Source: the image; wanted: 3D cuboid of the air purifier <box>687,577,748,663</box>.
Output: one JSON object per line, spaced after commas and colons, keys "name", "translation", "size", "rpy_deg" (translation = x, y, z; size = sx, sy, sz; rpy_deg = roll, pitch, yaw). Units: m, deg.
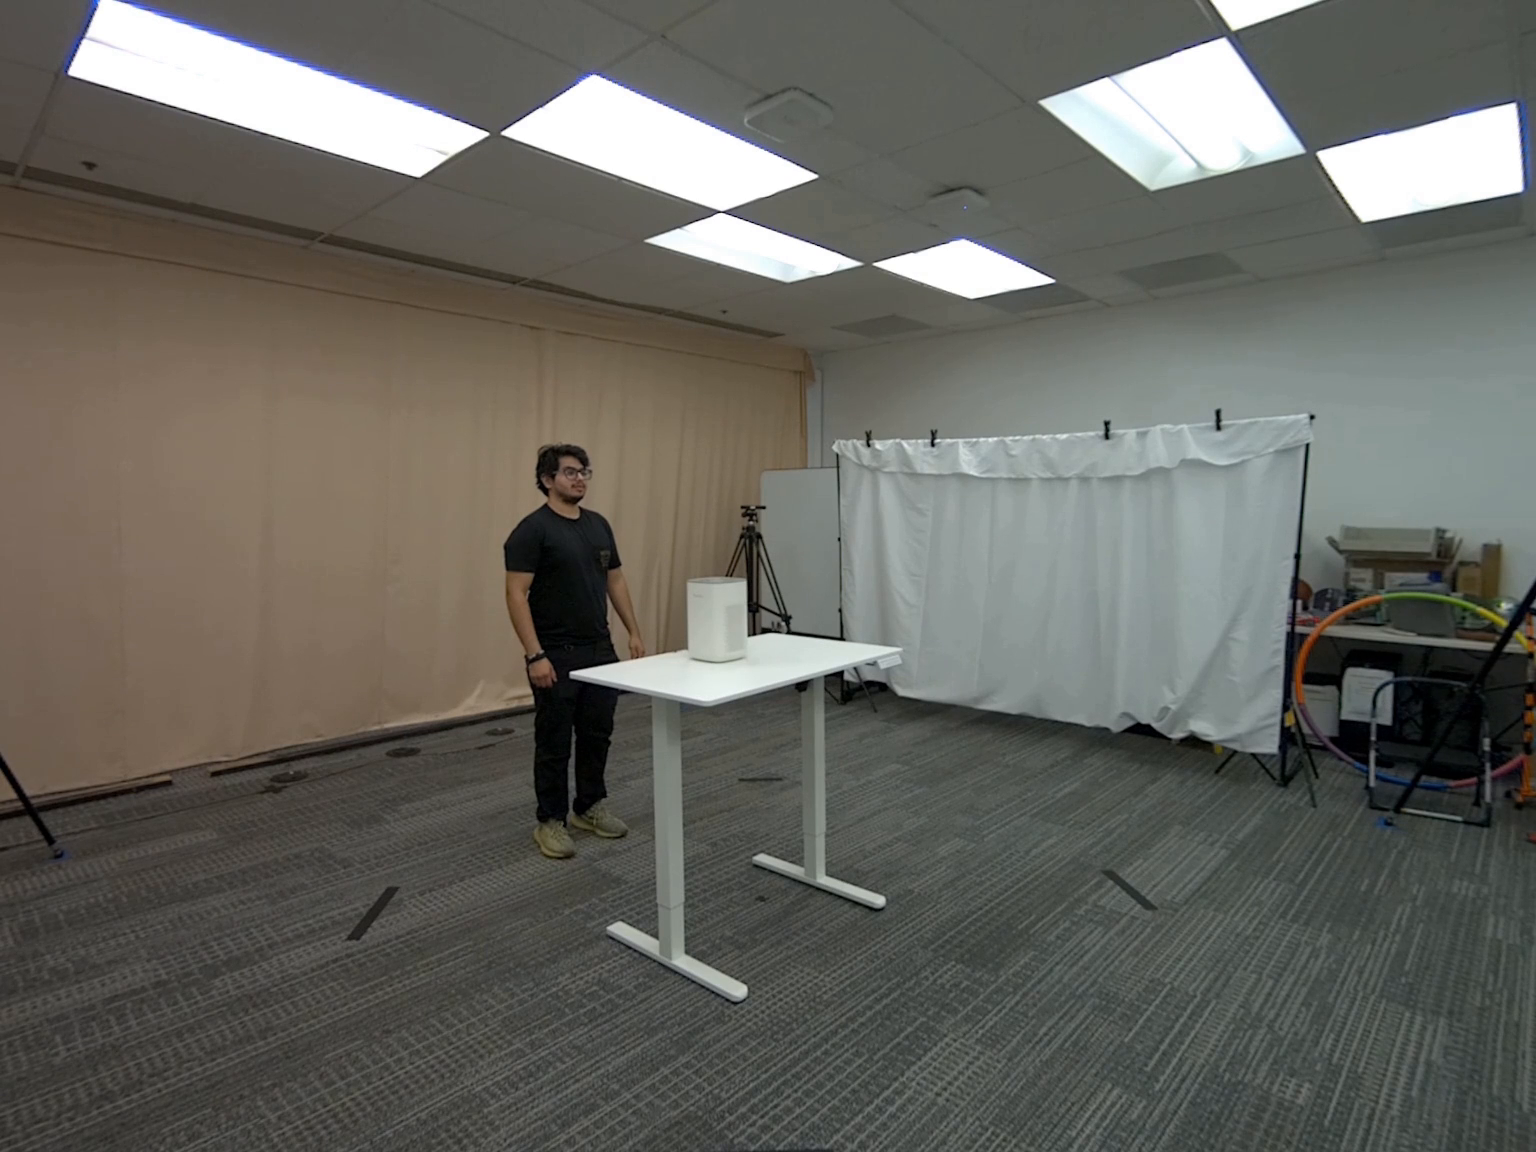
{"name": "air purifier", "translation": [-0.165, 0.145, 2.807], "size": [0.177, 0.264, 0.166], "rpy_deg": [3, 6, 41]}
